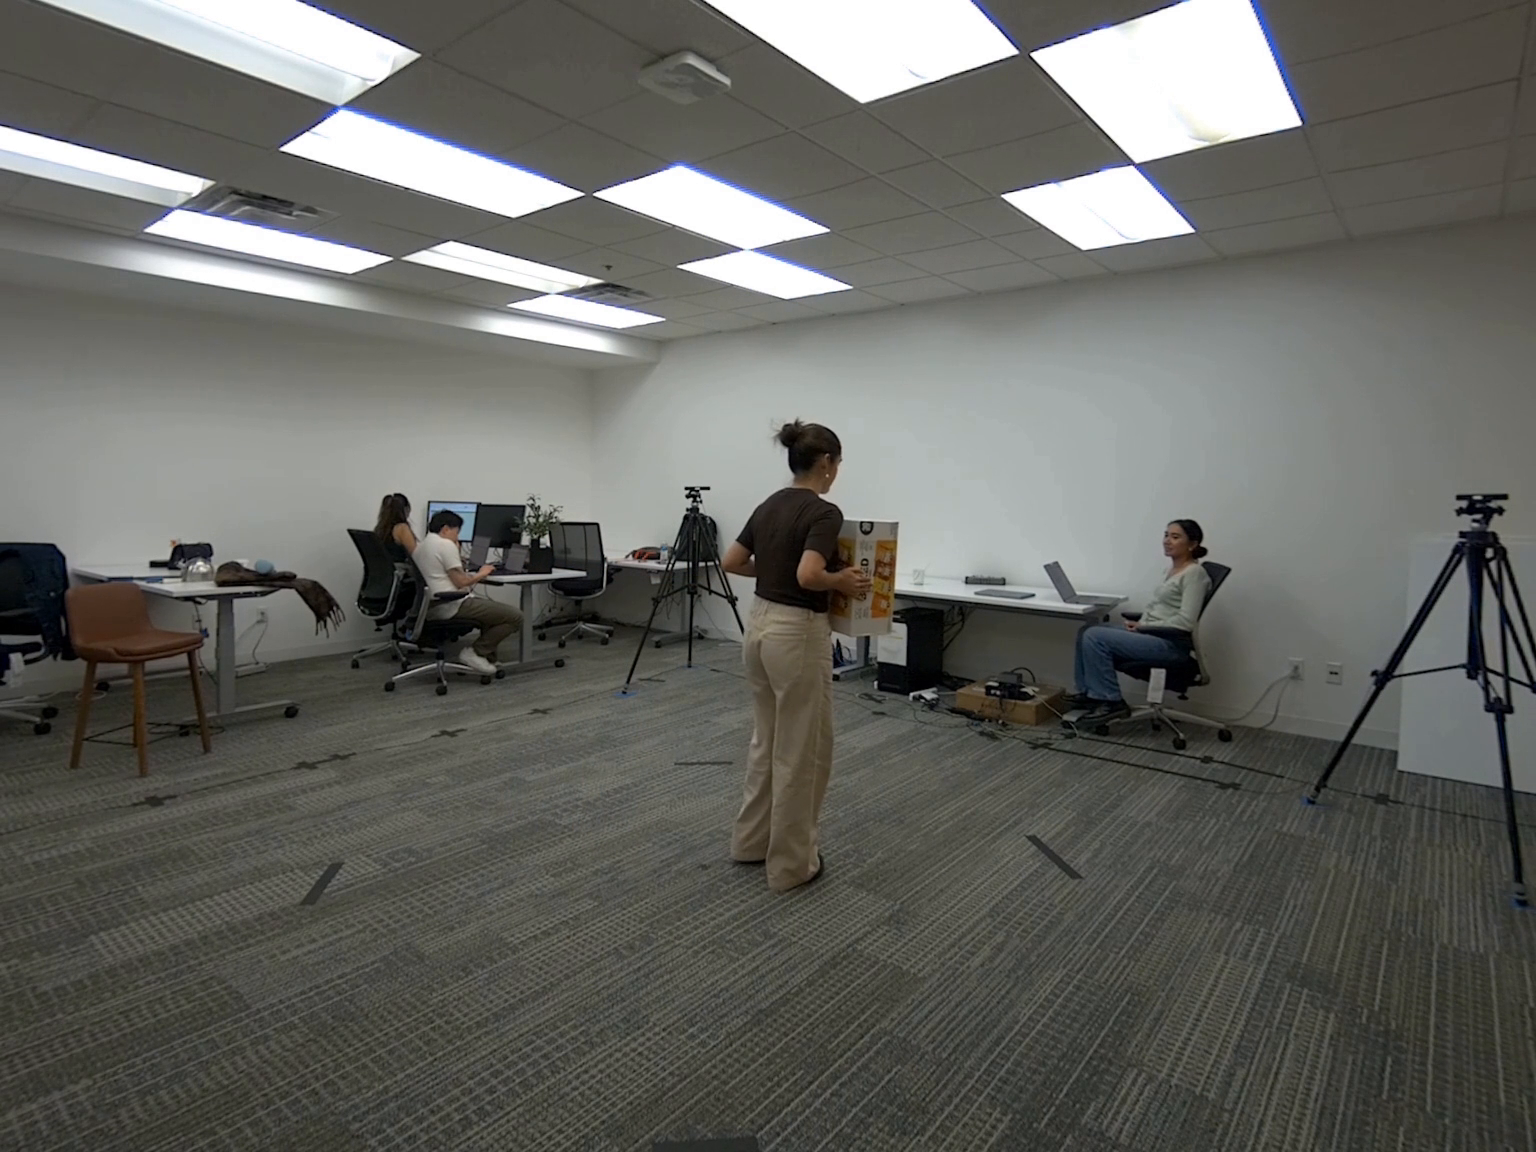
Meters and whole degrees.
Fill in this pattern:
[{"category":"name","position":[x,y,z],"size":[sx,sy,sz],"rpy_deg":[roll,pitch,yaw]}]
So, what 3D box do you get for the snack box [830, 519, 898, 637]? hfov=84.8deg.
[{"category":"snack box","position":[0.265,-0.017,3.121],"size":[0.199,0.404,0.352],"rpy_deg":[1,5,-35]}]
